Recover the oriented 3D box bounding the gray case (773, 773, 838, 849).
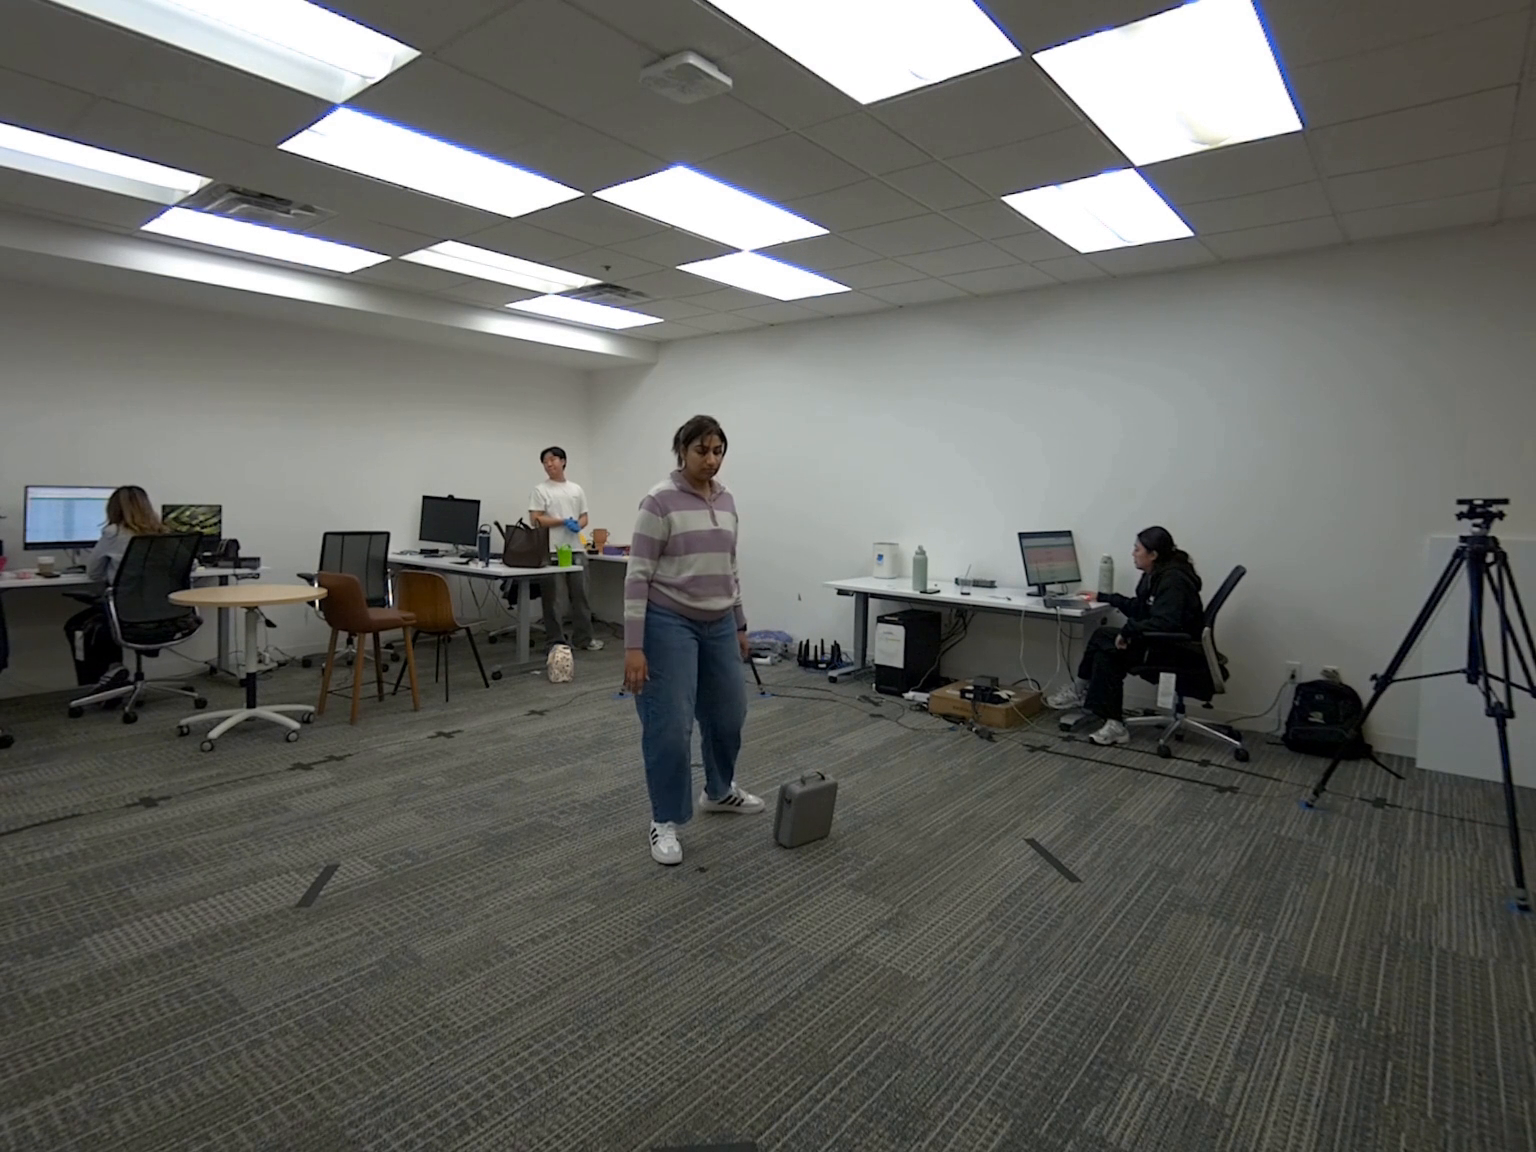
[{"bbox_3d":[0.145,0.920,3.376,0.249,0.259,0.108,-2,12,-40],"label":"gray case"}]
